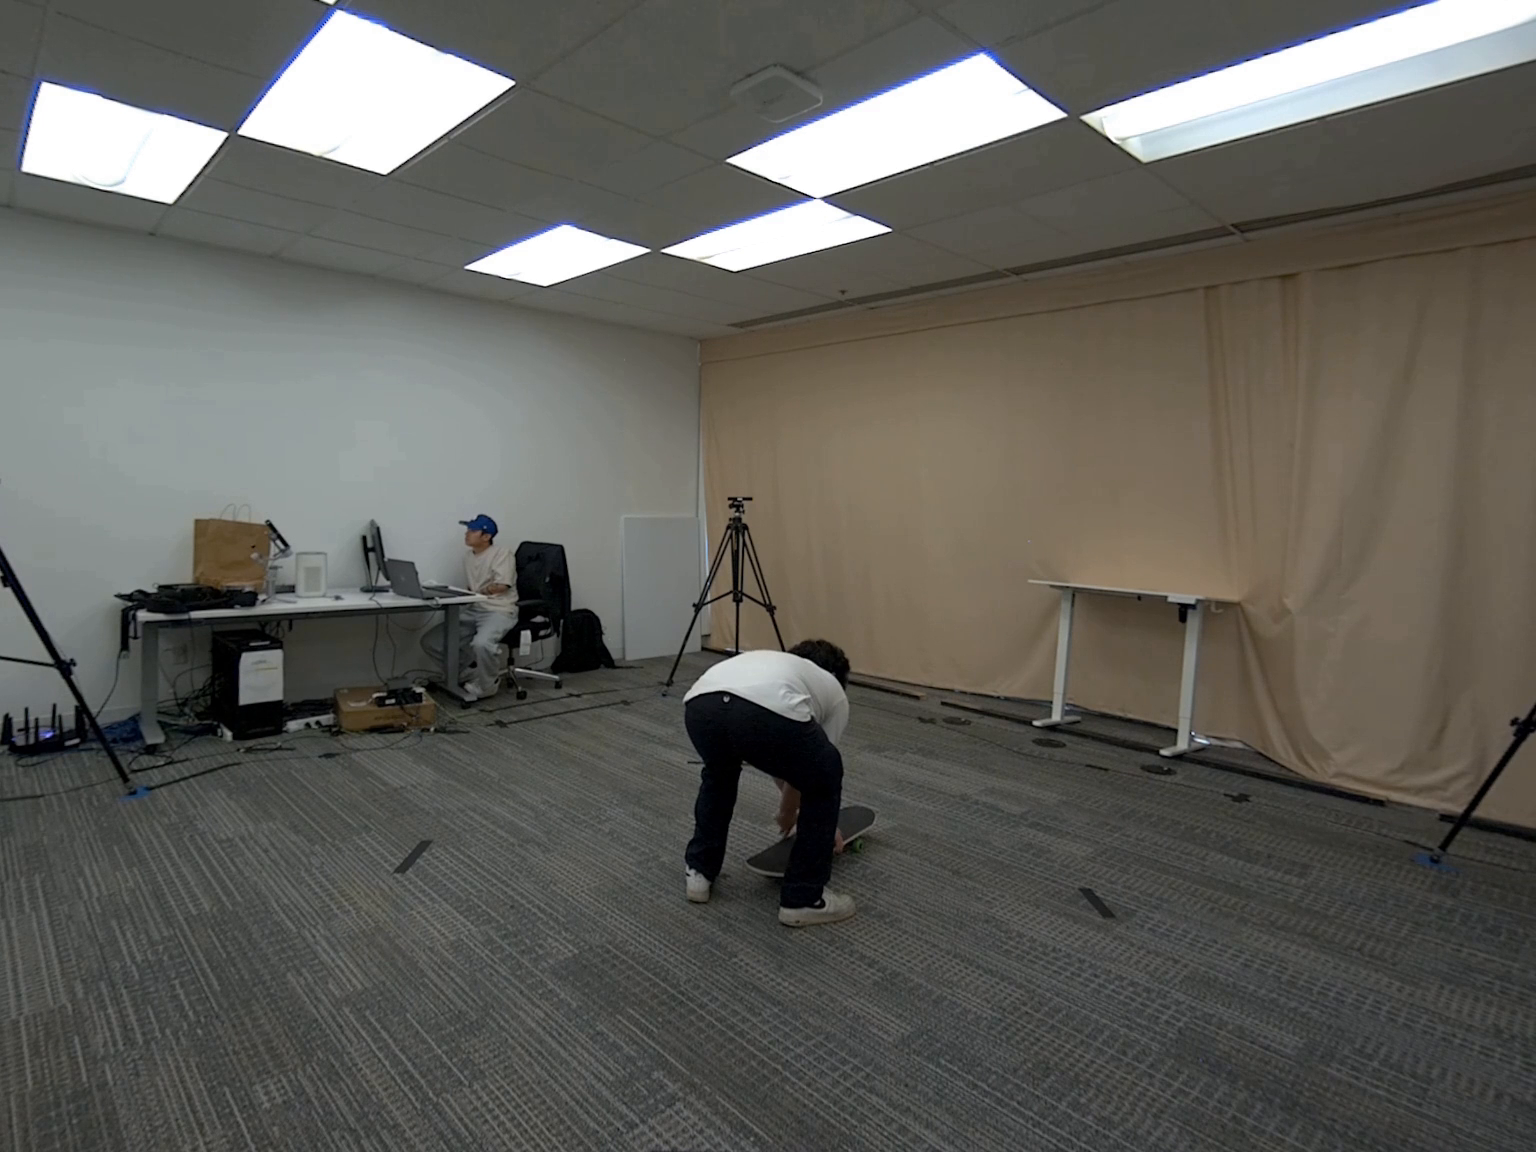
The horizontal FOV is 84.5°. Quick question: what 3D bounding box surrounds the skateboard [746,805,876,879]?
[{"bbox_3d":[0.175,1.046,3.240,0.198,0.110,0.769,4,6,34],"label":"skateboard"}]
